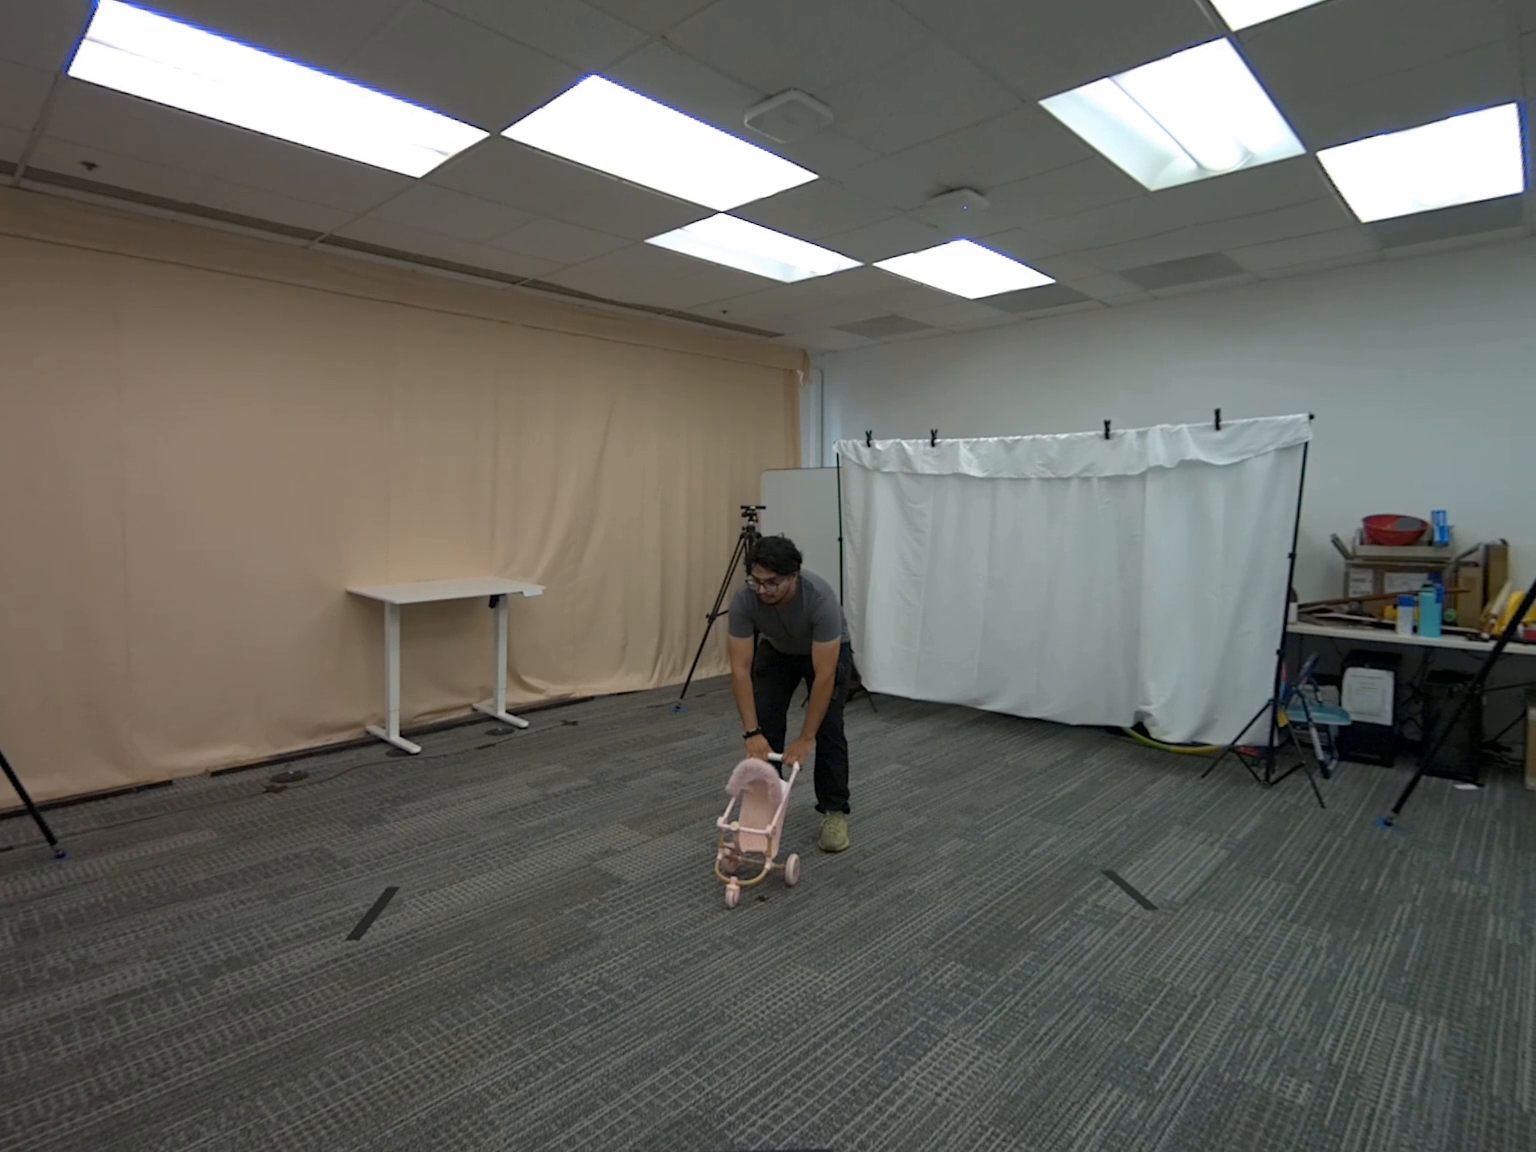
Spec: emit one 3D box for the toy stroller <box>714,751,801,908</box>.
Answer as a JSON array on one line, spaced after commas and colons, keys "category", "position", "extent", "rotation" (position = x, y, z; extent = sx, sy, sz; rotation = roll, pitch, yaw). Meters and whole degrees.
[{"category": "toy stroller", "position": [-0.053, 0.913, 3.081], "extent": [0.289, 0.538, 0.330], "rotation": [1, -13, 28]}]
